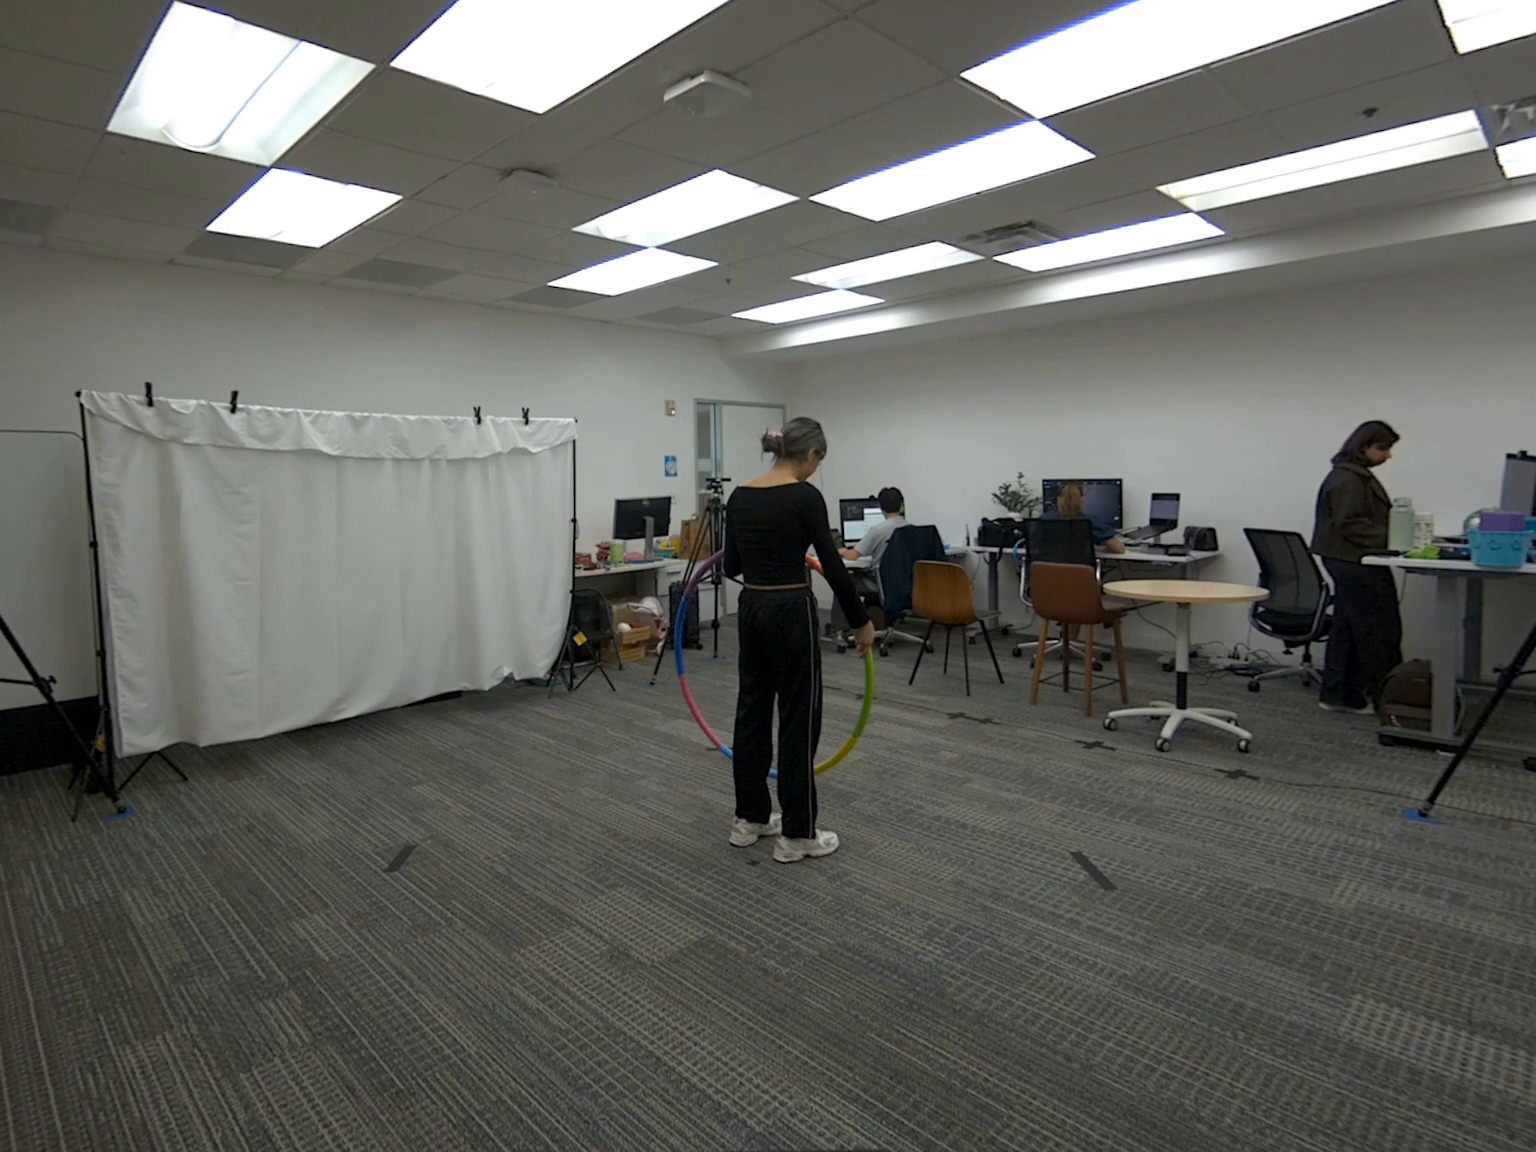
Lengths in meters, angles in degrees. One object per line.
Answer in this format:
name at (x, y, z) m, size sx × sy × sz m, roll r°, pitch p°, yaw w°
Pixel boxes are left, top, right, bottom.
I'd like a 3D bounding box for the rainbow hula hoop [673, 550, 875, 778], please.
rainbow hula hoop at (-0.012, 0.348, 3.524) m, size 1.007 × 0.973 × 0.035 m, roll 3°, pitch 7°, yaw 36°
